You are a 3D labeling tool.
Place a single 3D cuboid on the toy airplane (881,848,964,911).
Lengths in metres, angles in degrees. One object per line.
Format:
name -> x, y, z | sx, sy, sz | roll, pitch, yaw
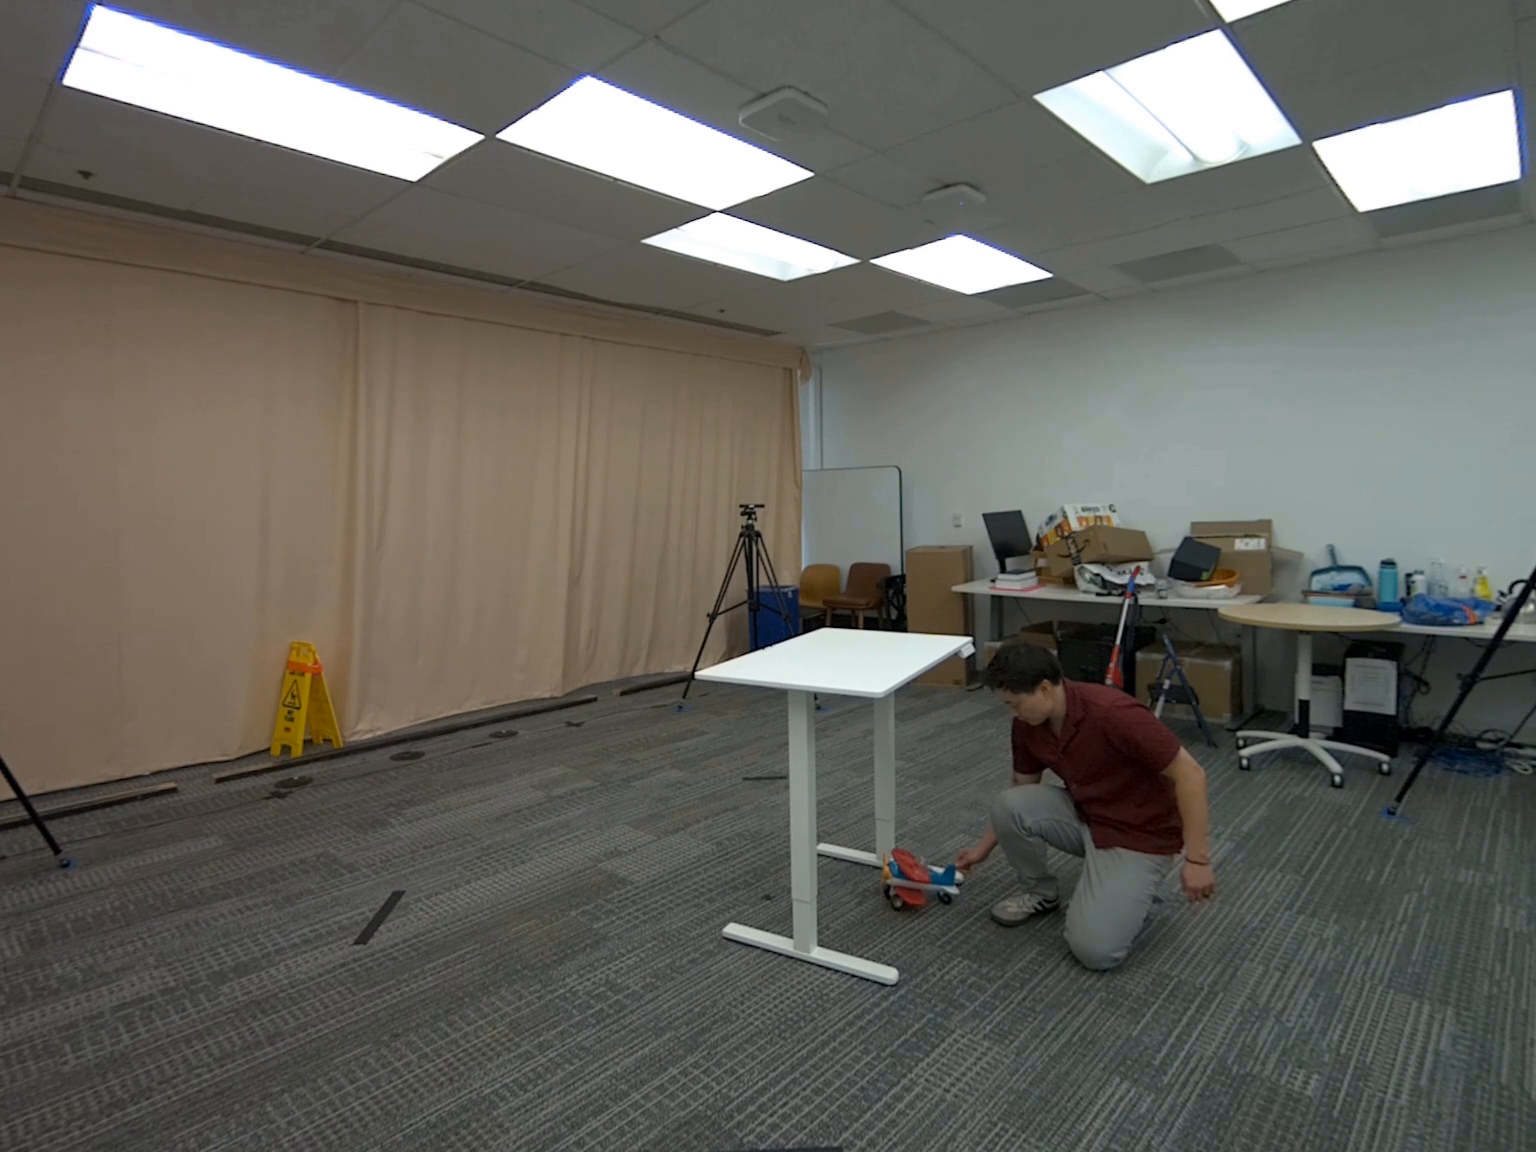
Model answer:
toy airplane -> 0.523, 1.061, 2.938 | 0.252, 0.156, 0.259 | -4, 6, -32
